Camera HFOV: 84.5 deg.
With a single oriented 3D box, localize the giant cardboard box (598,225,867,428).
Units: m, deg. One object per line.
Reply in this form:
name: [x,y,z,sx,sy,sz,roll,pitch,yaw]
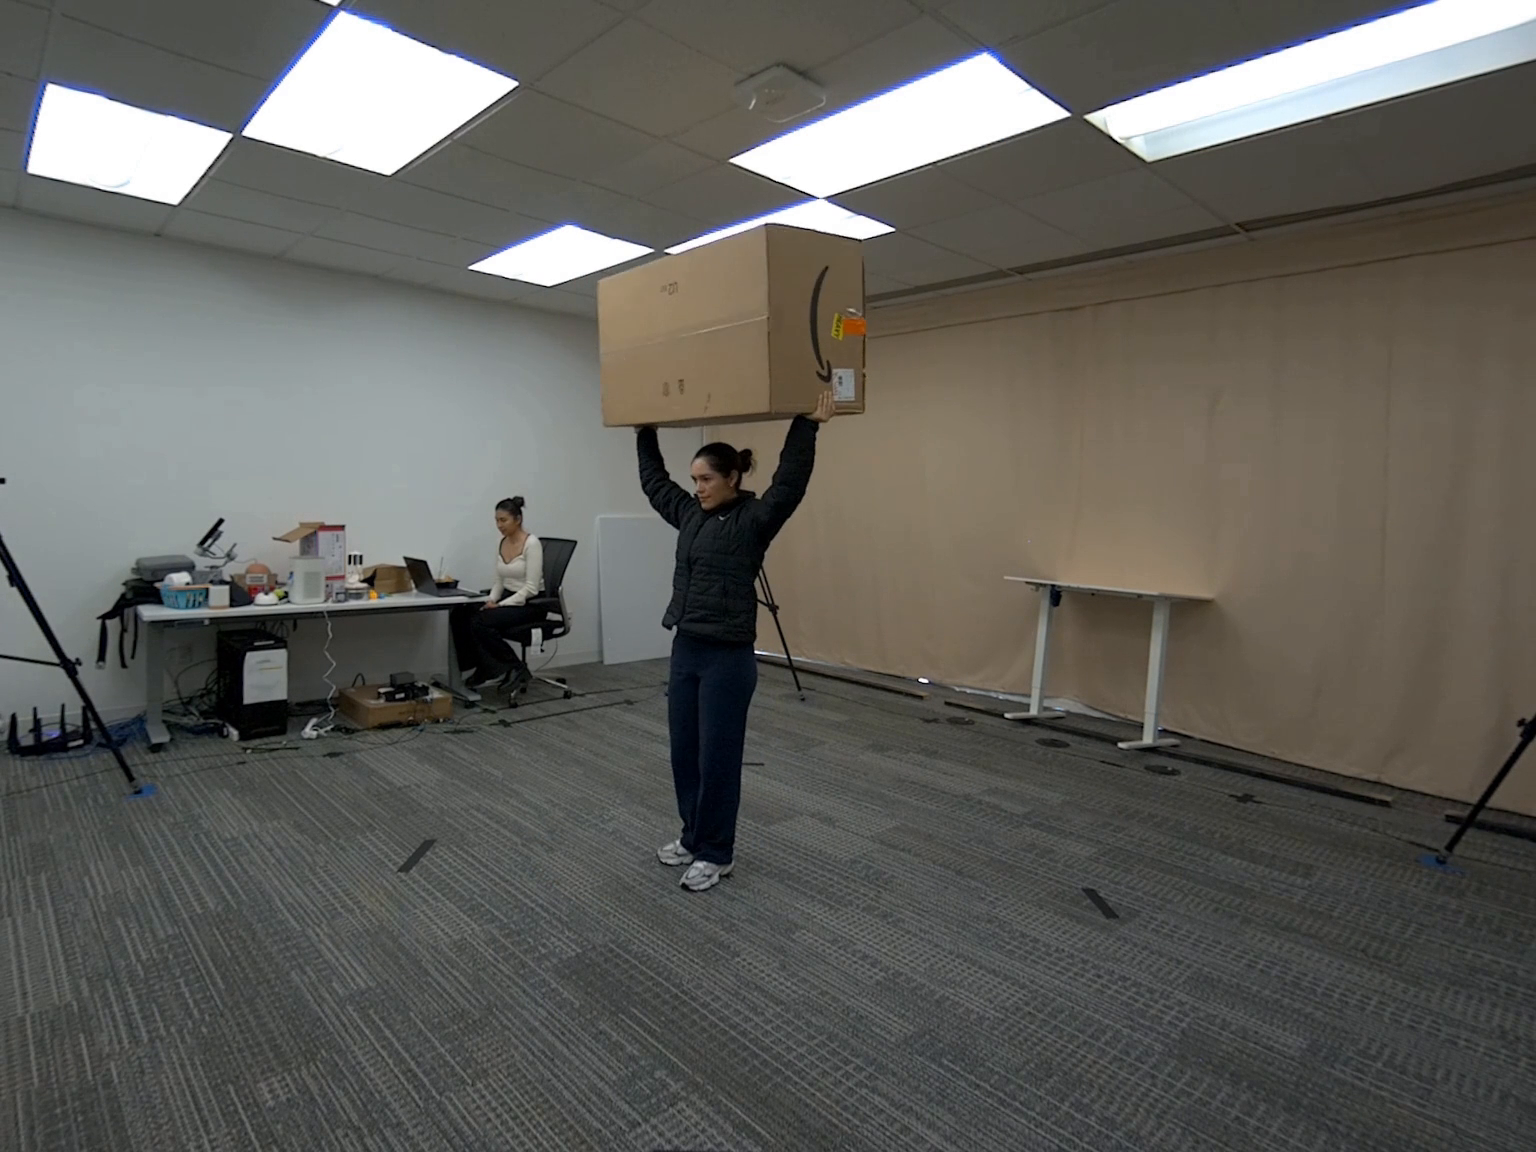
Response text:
giant cardboard box: [-0.173,-0.847,3.055,0.437,0.581,1.054,-6,9,-40]
